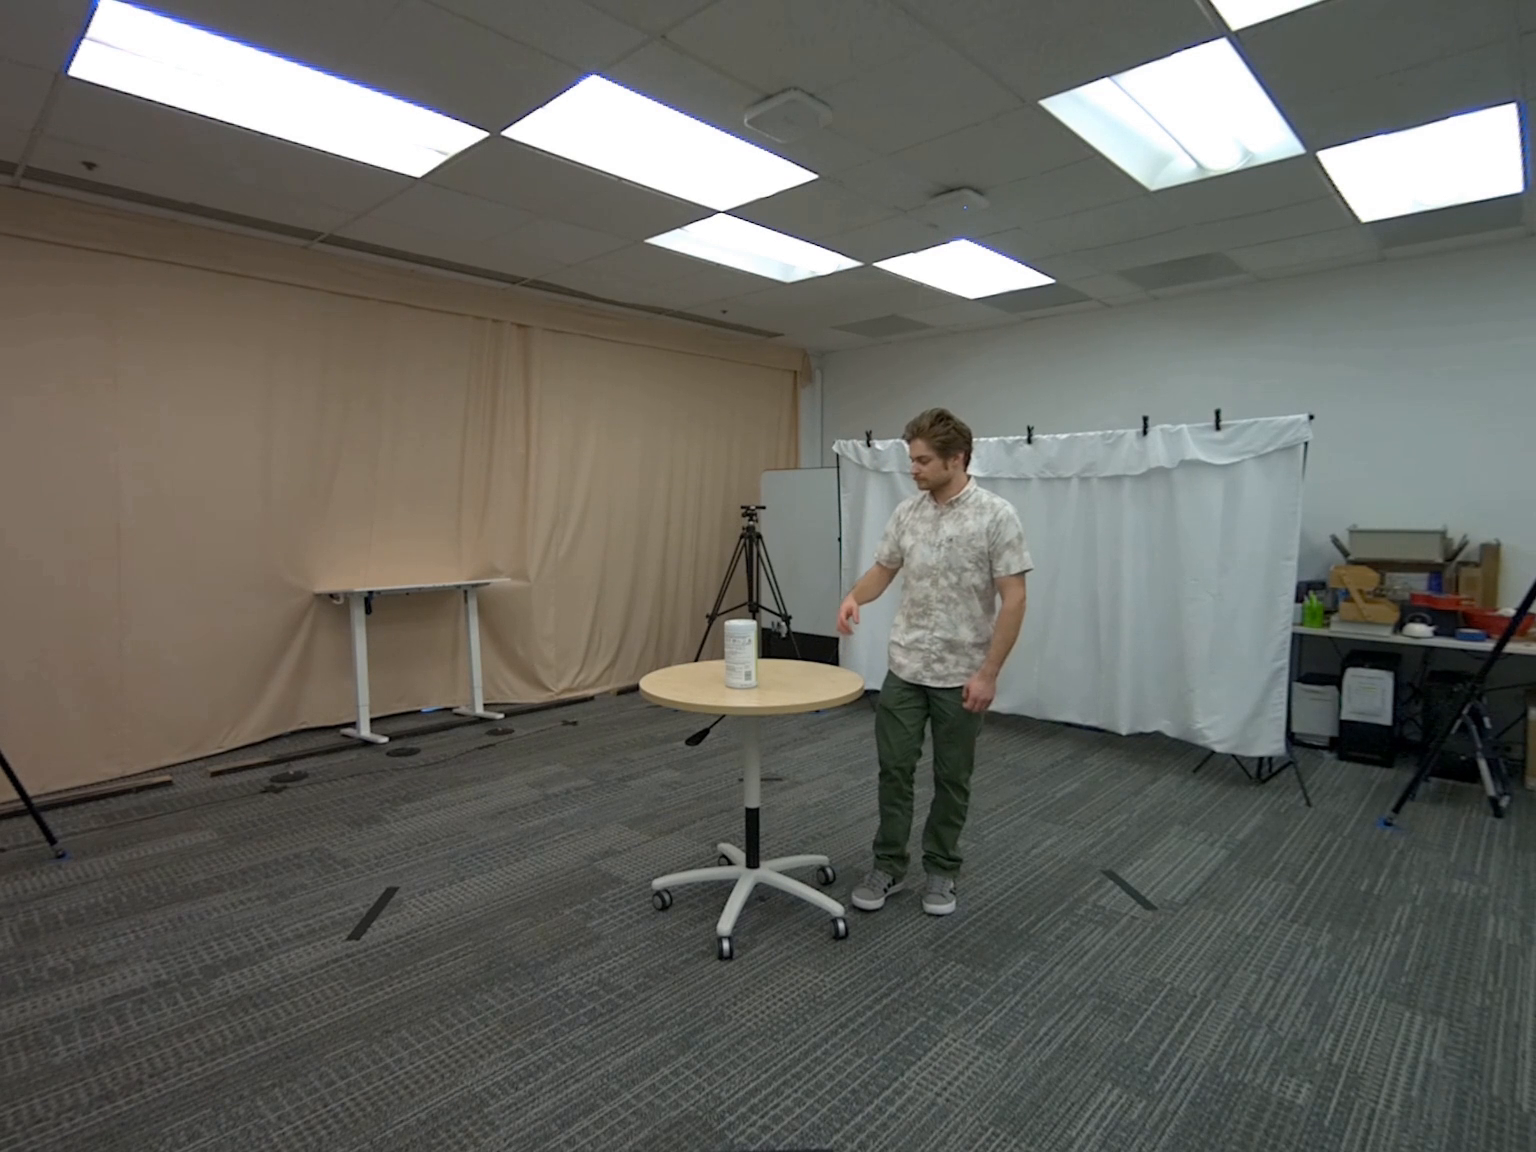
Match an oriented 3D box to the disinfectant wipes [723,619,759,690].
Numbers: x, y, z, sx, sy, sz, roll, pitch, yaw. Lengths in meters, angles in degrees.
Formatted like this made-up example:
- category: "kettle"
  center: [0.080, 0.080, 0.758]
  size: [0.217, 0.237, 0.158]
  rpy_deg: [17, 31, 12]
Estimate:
- category: "disinfectant wipes"
  center: [-0.079, 0.262, 2.790]
  size: [0.118, 0.217, 0.118]
  rpy_deg: [0, 3, -2]
